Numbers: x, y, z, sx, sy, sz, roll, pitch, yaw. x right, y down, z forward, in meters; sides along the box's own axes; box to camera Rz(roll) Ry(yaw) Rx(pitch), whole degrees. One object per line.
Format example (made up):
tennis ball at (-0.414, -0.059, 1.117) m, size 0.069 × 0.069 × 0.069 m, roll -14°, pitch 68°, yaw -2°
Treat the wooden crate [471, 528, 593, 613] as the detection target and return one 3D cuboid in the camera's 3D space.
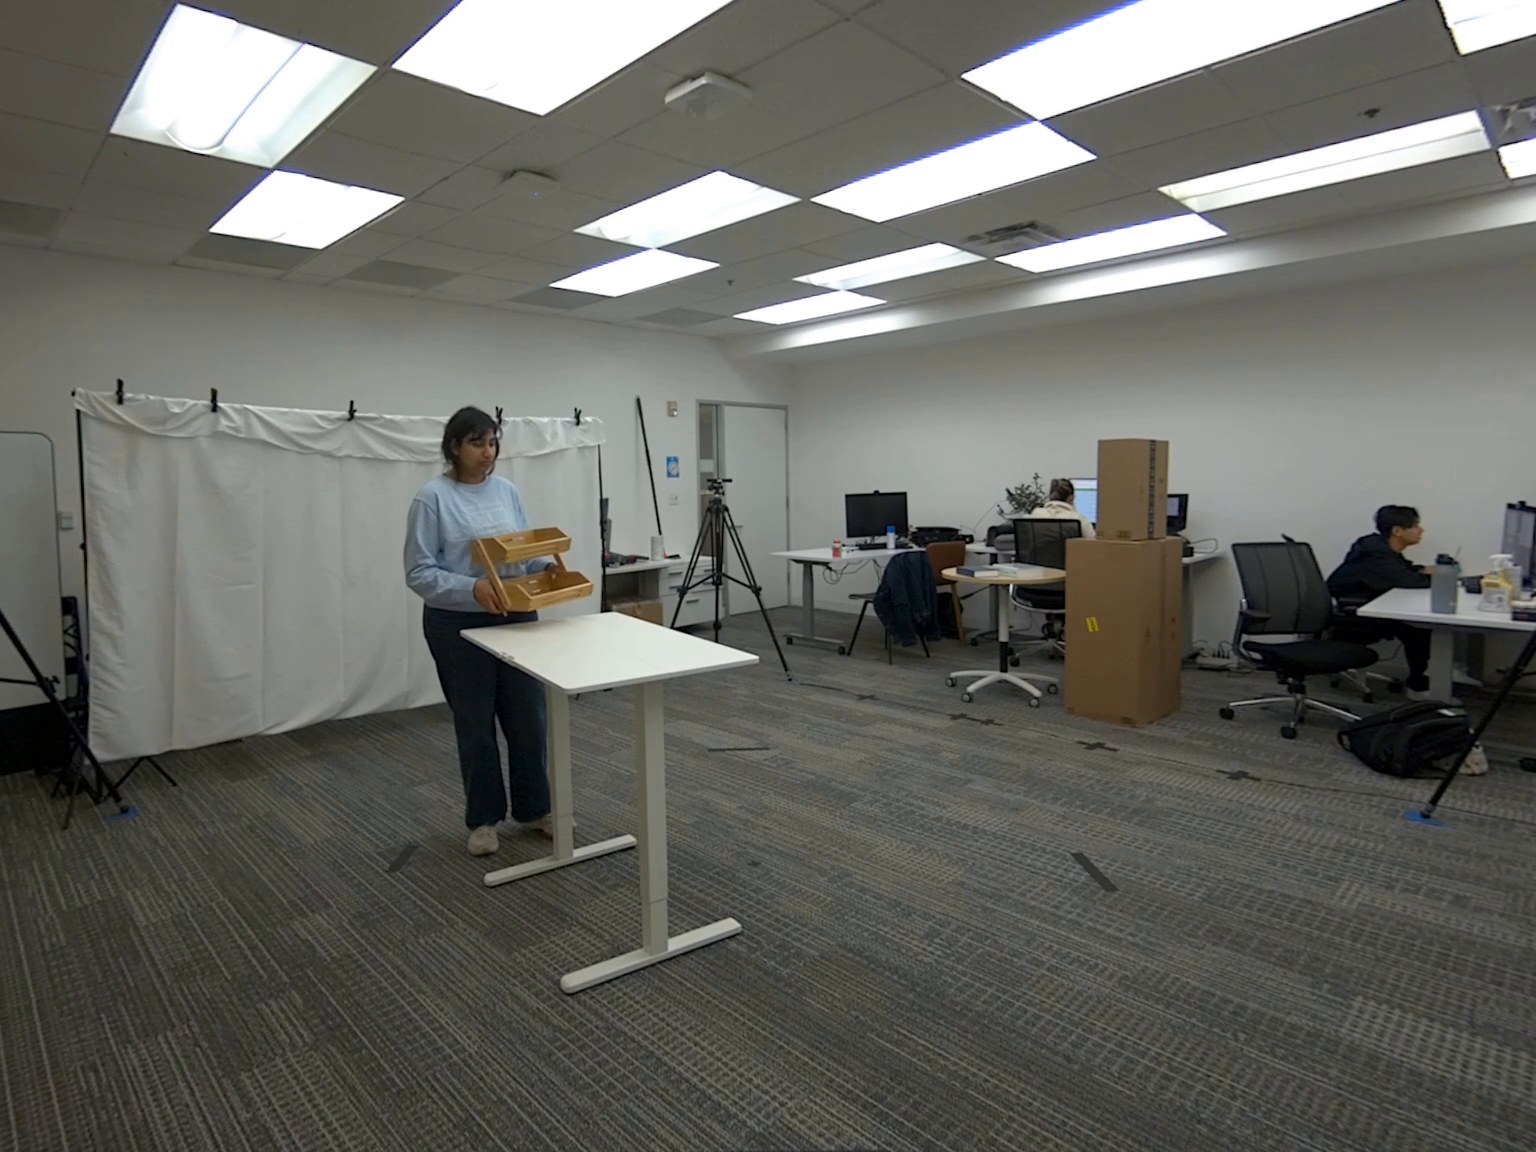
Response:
wooden crate at (-0.857, -0.035, 3.127) m, size 0.310 × 0.272 × 0.317 m, roll -3°, pitch 7°, yaw 36°
